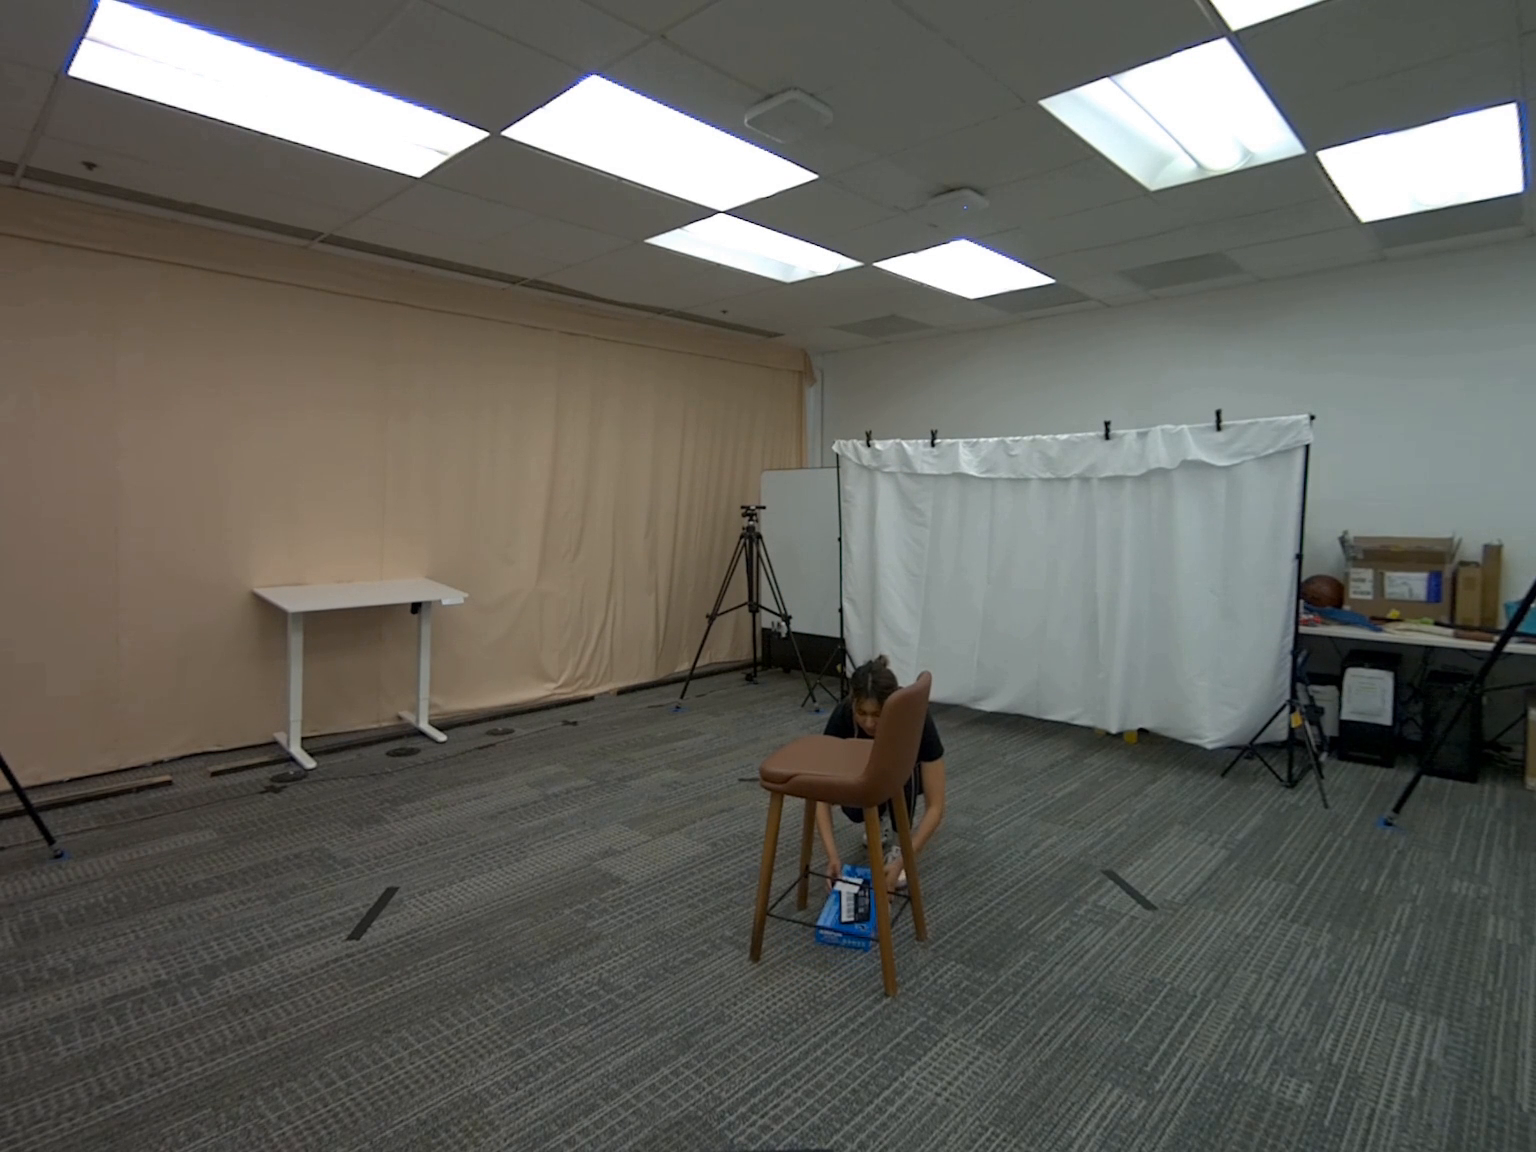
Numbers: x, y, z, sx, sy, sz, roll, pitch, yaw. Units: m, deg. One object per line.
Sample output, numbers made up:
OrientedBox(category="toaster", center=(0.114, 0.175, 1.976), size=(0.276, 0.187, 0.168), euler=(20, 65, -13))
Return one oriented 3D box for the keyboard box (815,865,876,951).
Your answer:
OrientedBox(category="keyboard box", center=(0.294, 1.114, 2.854), size=(0.179, 0.059, 0.430), euler=(1, 7, 16))
